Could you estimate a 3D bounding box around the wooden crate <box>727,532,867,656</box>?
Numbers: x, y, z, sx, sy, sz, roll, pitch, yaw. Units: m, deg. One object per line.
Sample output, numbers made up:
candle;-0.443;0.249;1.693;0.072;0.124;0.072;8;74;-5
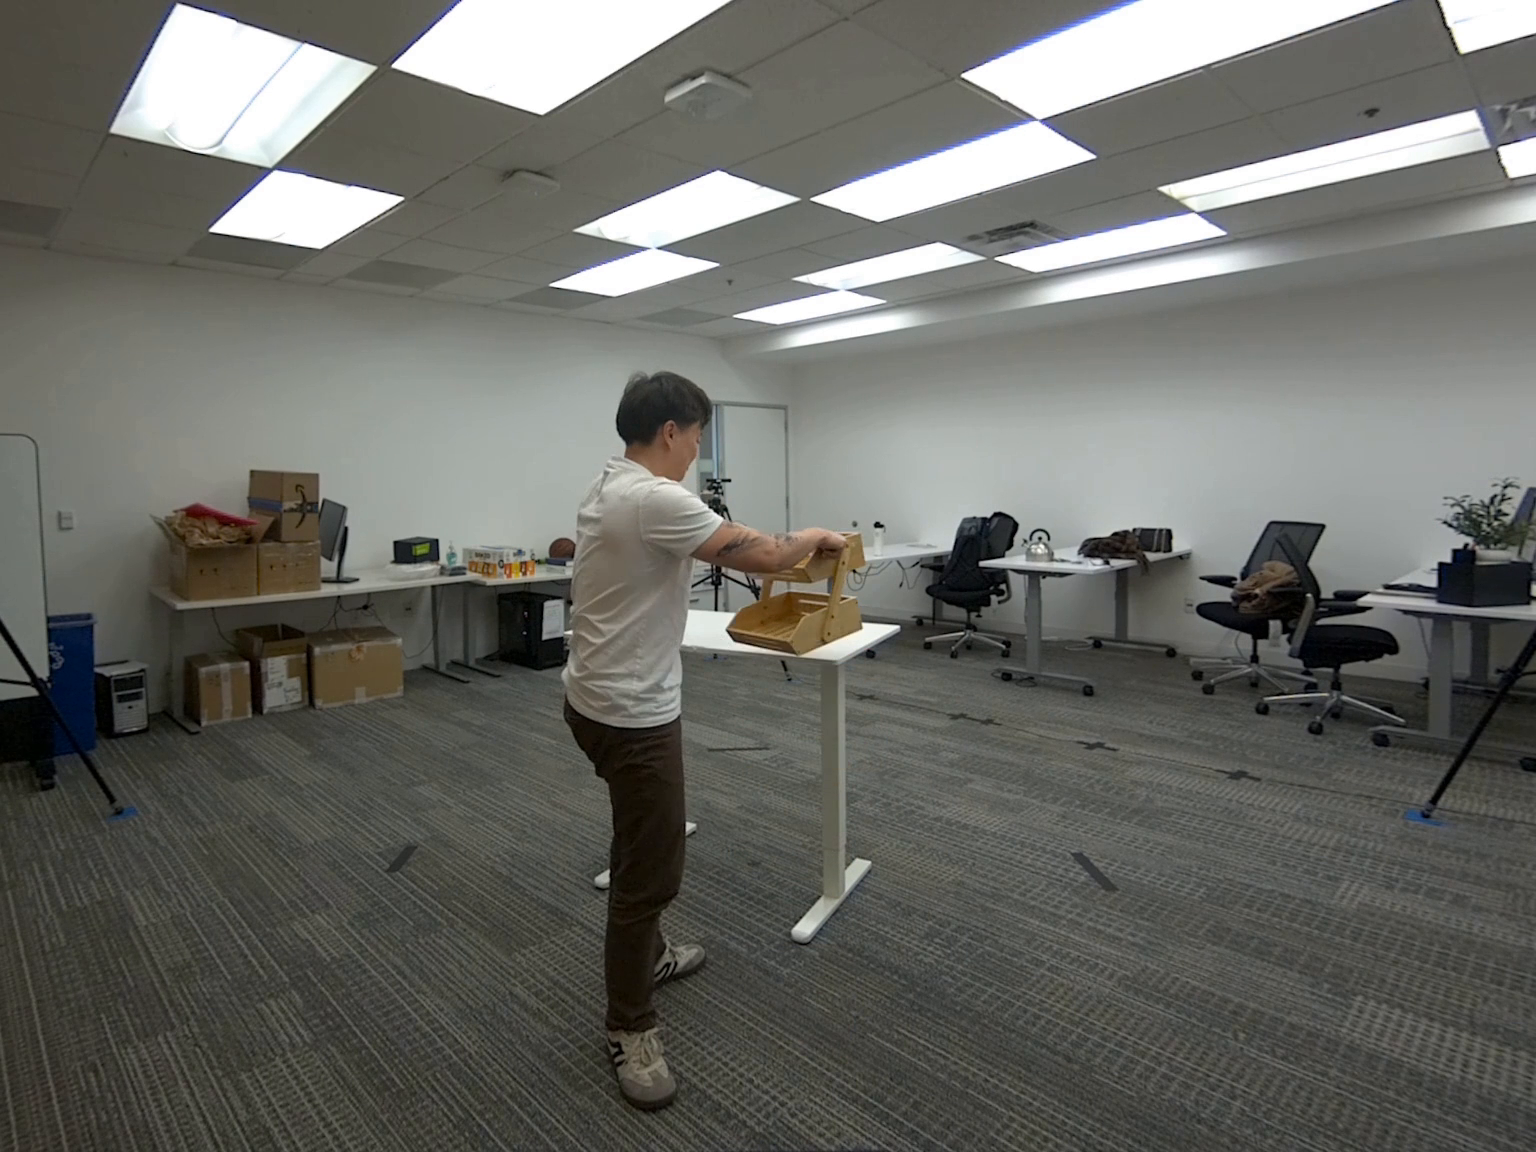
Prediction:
wooden crate;0.067;0.043;2.377;0.296;0.271;0.333;-16;11;-33
